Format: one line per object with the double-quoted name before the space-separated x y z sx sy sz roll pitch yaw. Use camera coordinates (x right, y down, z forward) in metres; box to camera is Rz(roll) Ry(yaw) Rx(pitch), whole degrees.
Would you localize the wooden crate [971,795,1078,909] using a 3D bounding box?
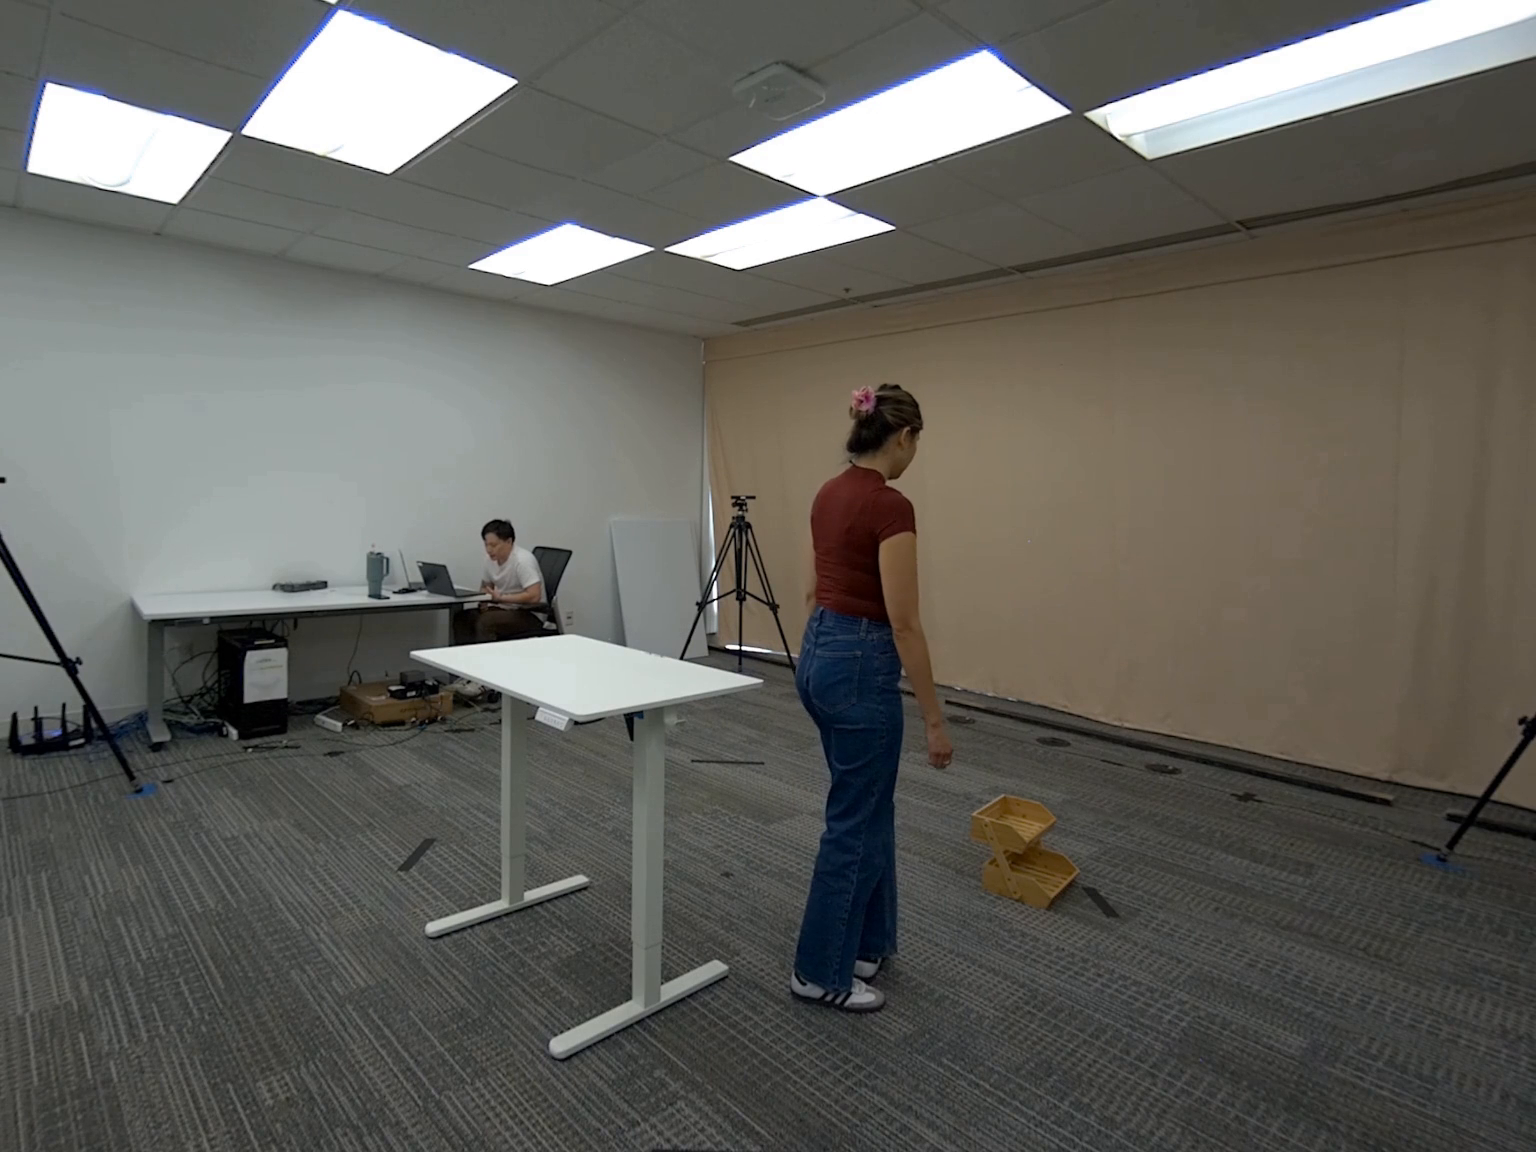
"wooden crate" 0.941 0.999 3.090 0.309 0.273 0.317 4 5 38
